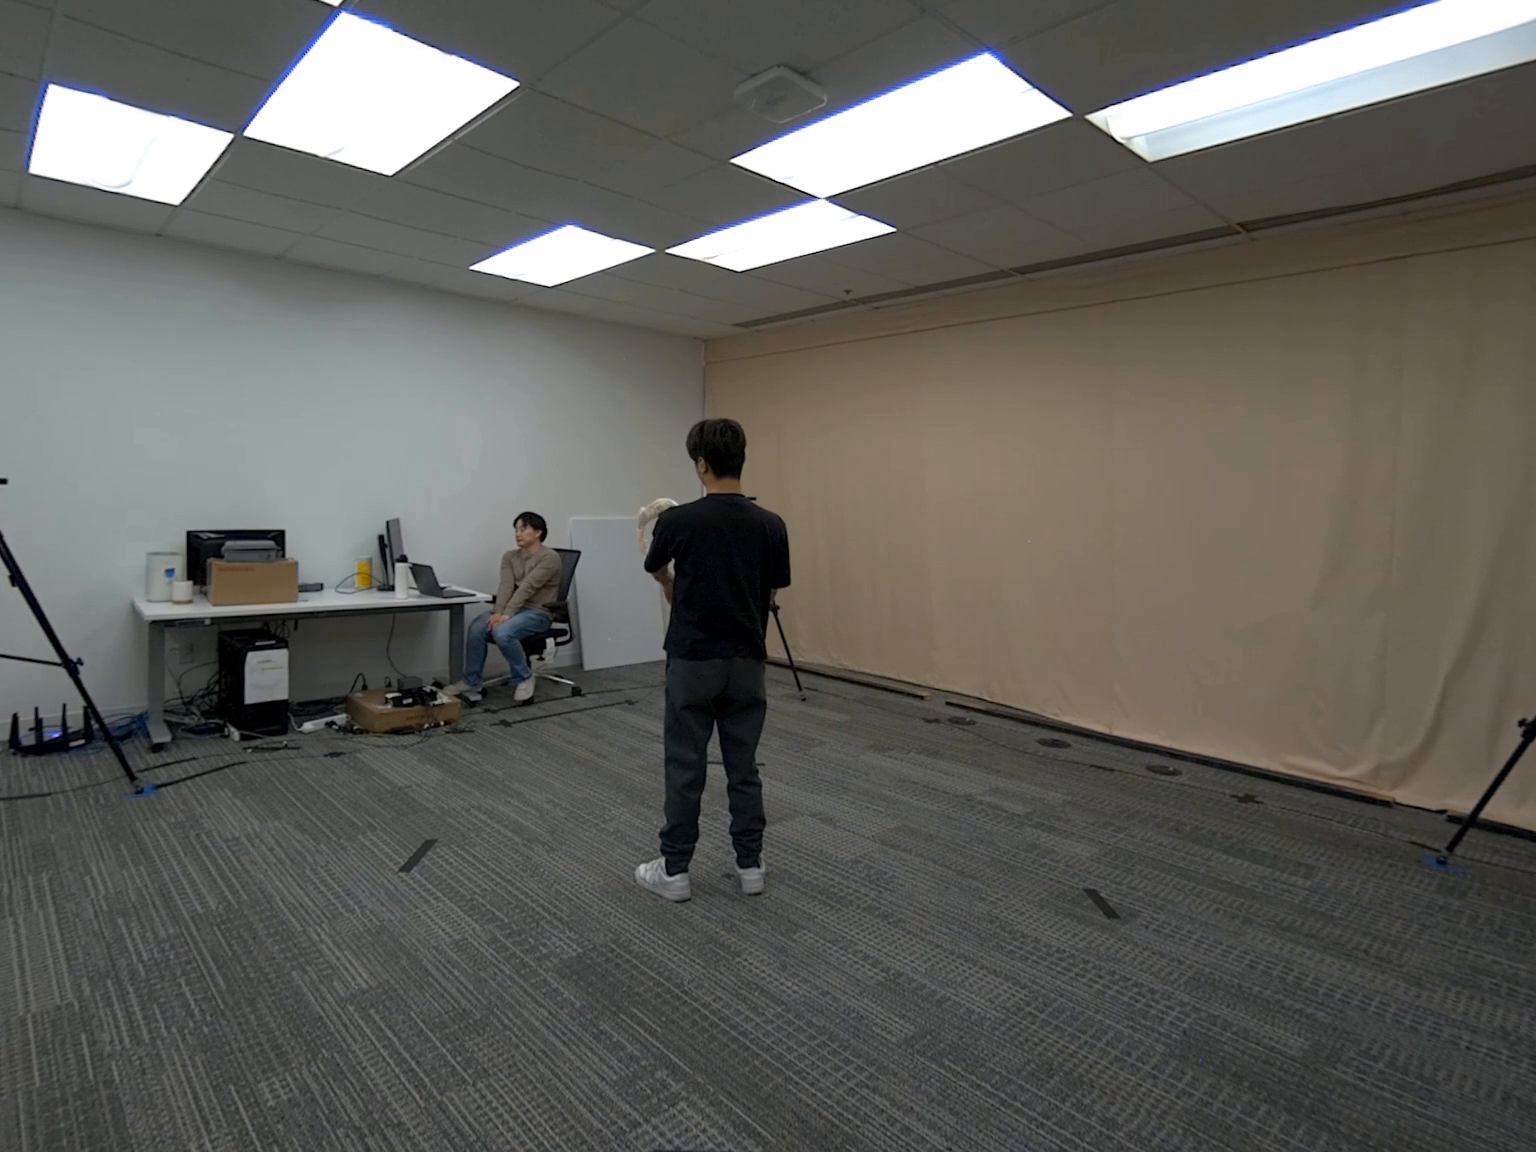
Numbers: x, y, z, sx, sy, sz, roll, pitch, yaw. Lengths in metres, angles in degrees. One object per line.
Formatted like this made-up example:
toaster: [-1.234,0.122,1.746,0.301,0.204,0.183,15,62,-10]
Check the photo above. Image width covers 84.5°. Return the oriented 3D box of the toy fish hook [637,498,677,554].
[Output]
toy fish hook: [-0.368,-0.045,3.264,0.226,0.513,0.047,-26,-14,16]
